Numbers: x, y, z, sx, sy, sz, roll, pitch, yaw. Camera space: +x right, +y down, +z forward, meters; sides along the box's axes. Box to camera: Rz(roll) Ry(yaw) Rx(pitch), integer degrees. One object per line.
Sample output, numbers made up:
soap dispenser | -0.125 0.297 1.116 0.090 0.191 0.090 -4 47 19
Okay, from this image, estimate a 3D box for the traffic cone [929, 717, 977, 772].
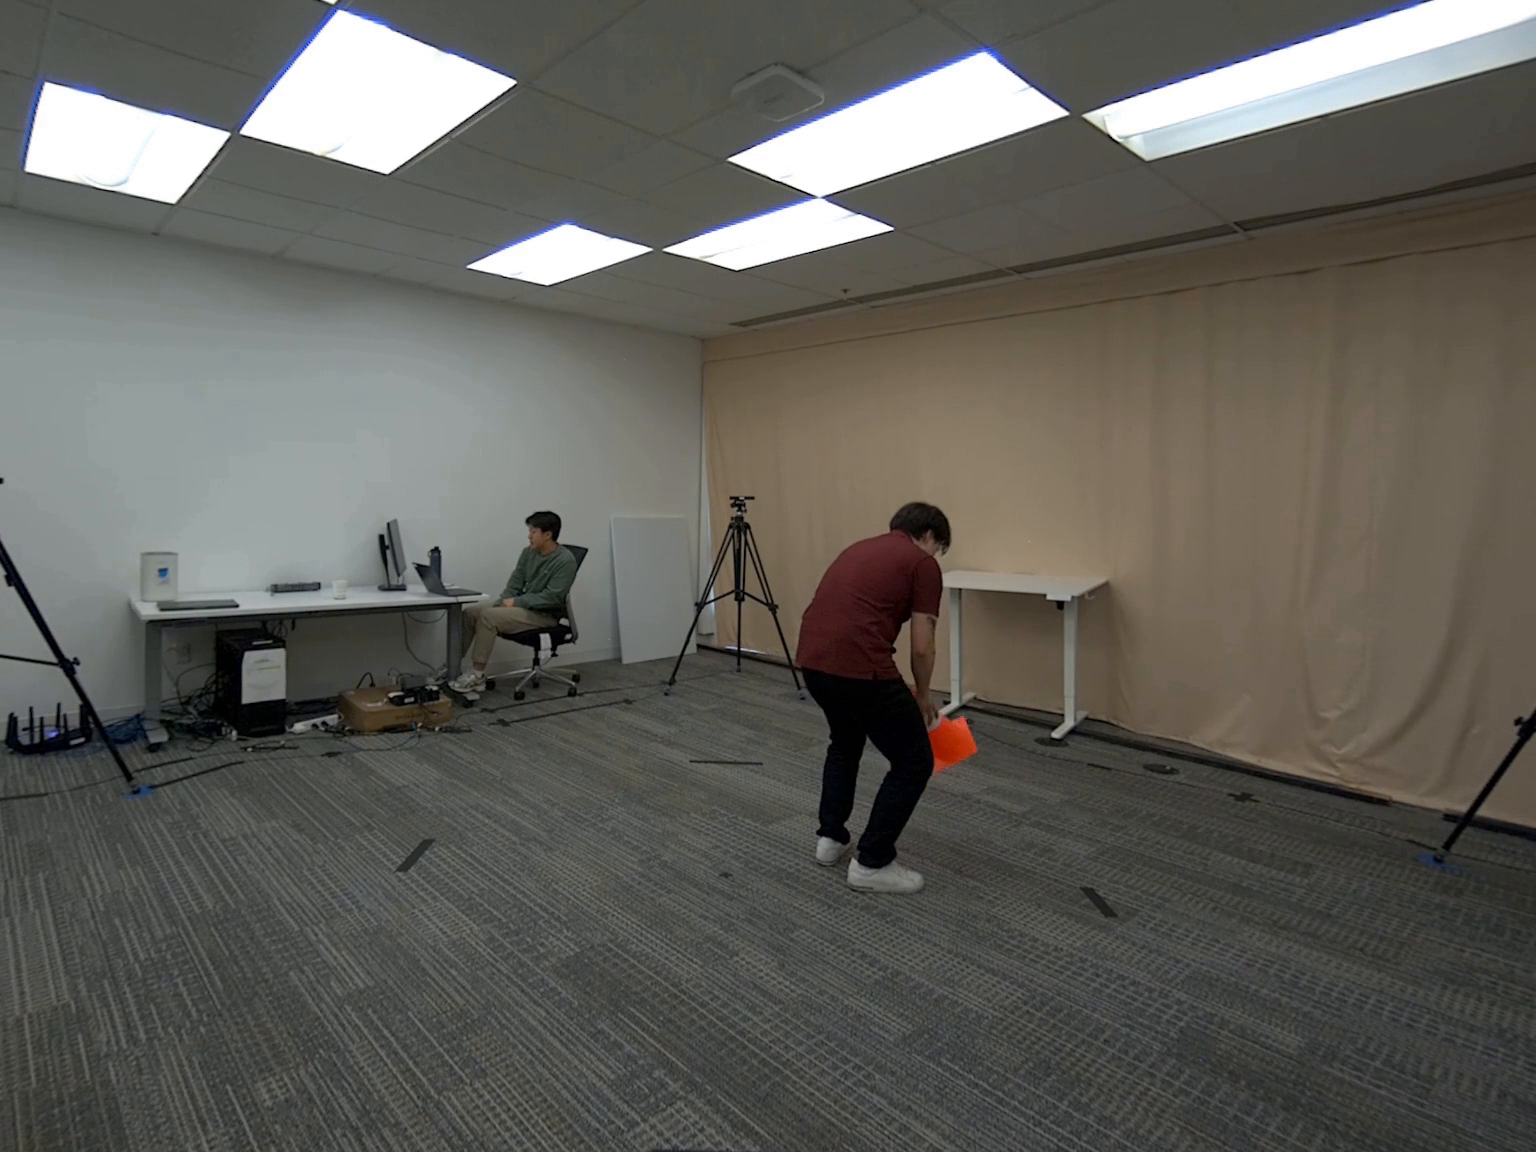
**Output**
traffic cone | 0.605 0.552 3.322 0.204 0.374 0.209 -31 25 12
